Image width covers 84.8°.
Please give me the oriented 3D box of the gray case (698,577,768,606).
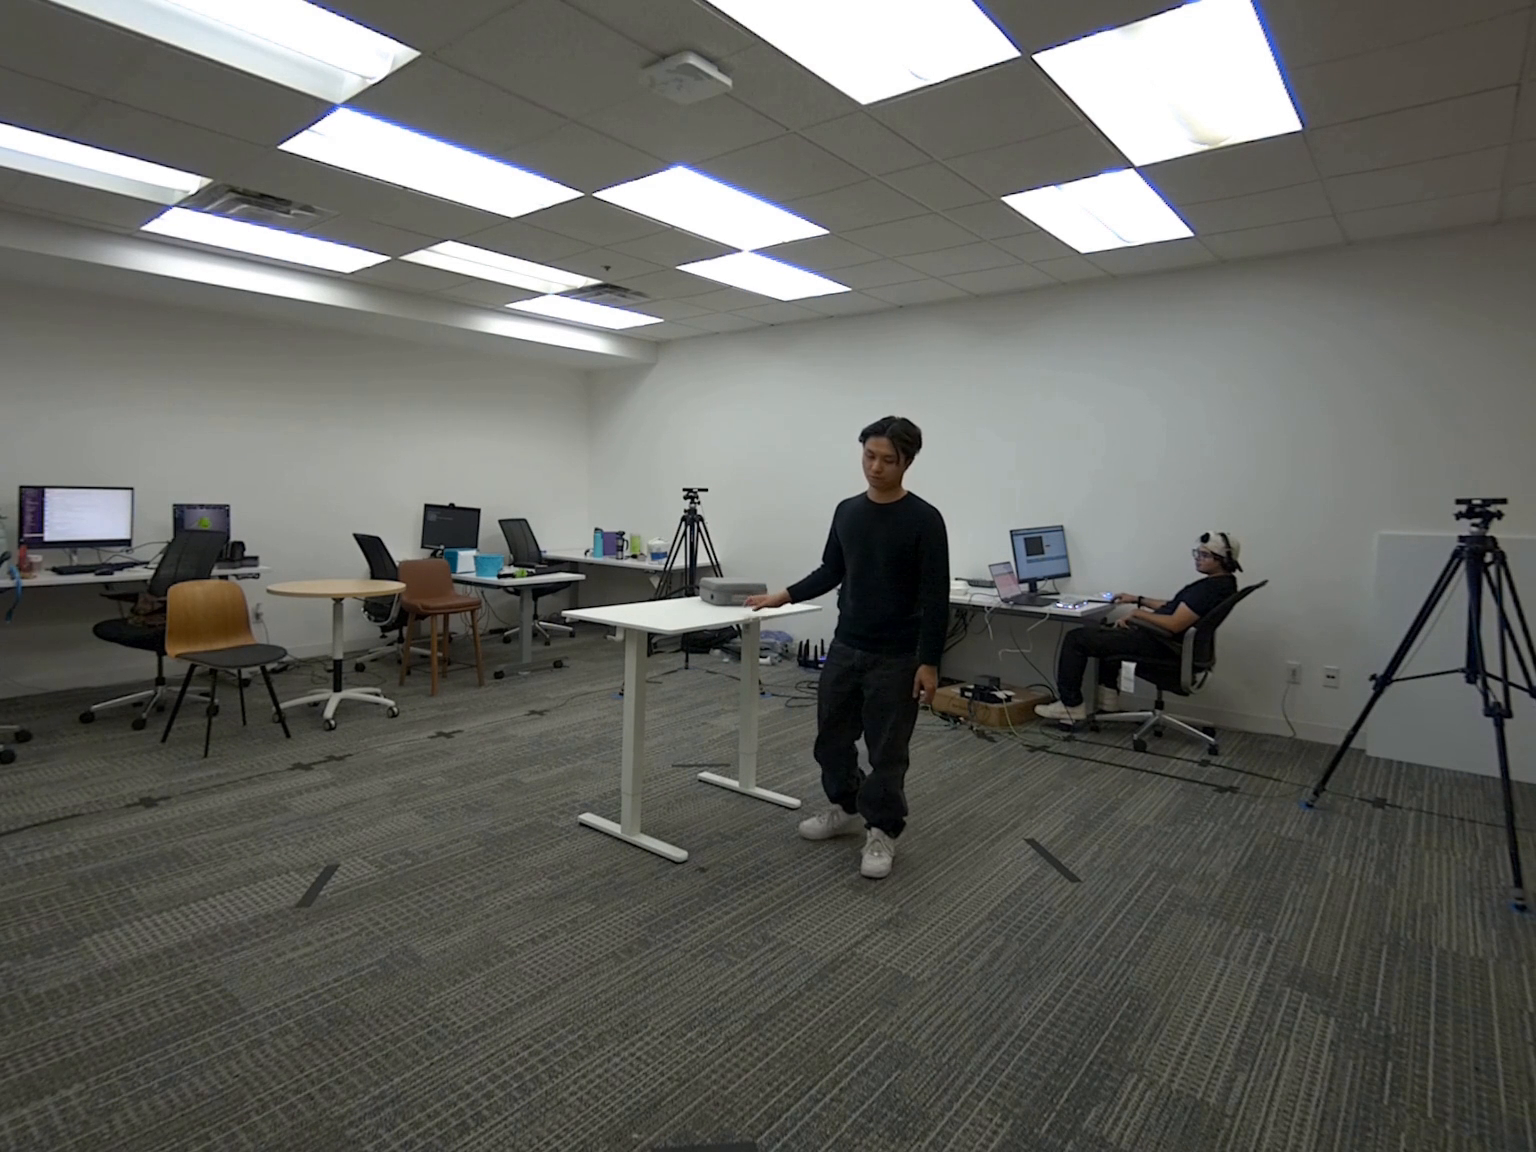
[{"bbox_3d":[-0.167,0.062,3.855,0.252,0.104,0.267,-1,5,-21],"label":"gray case"}]
